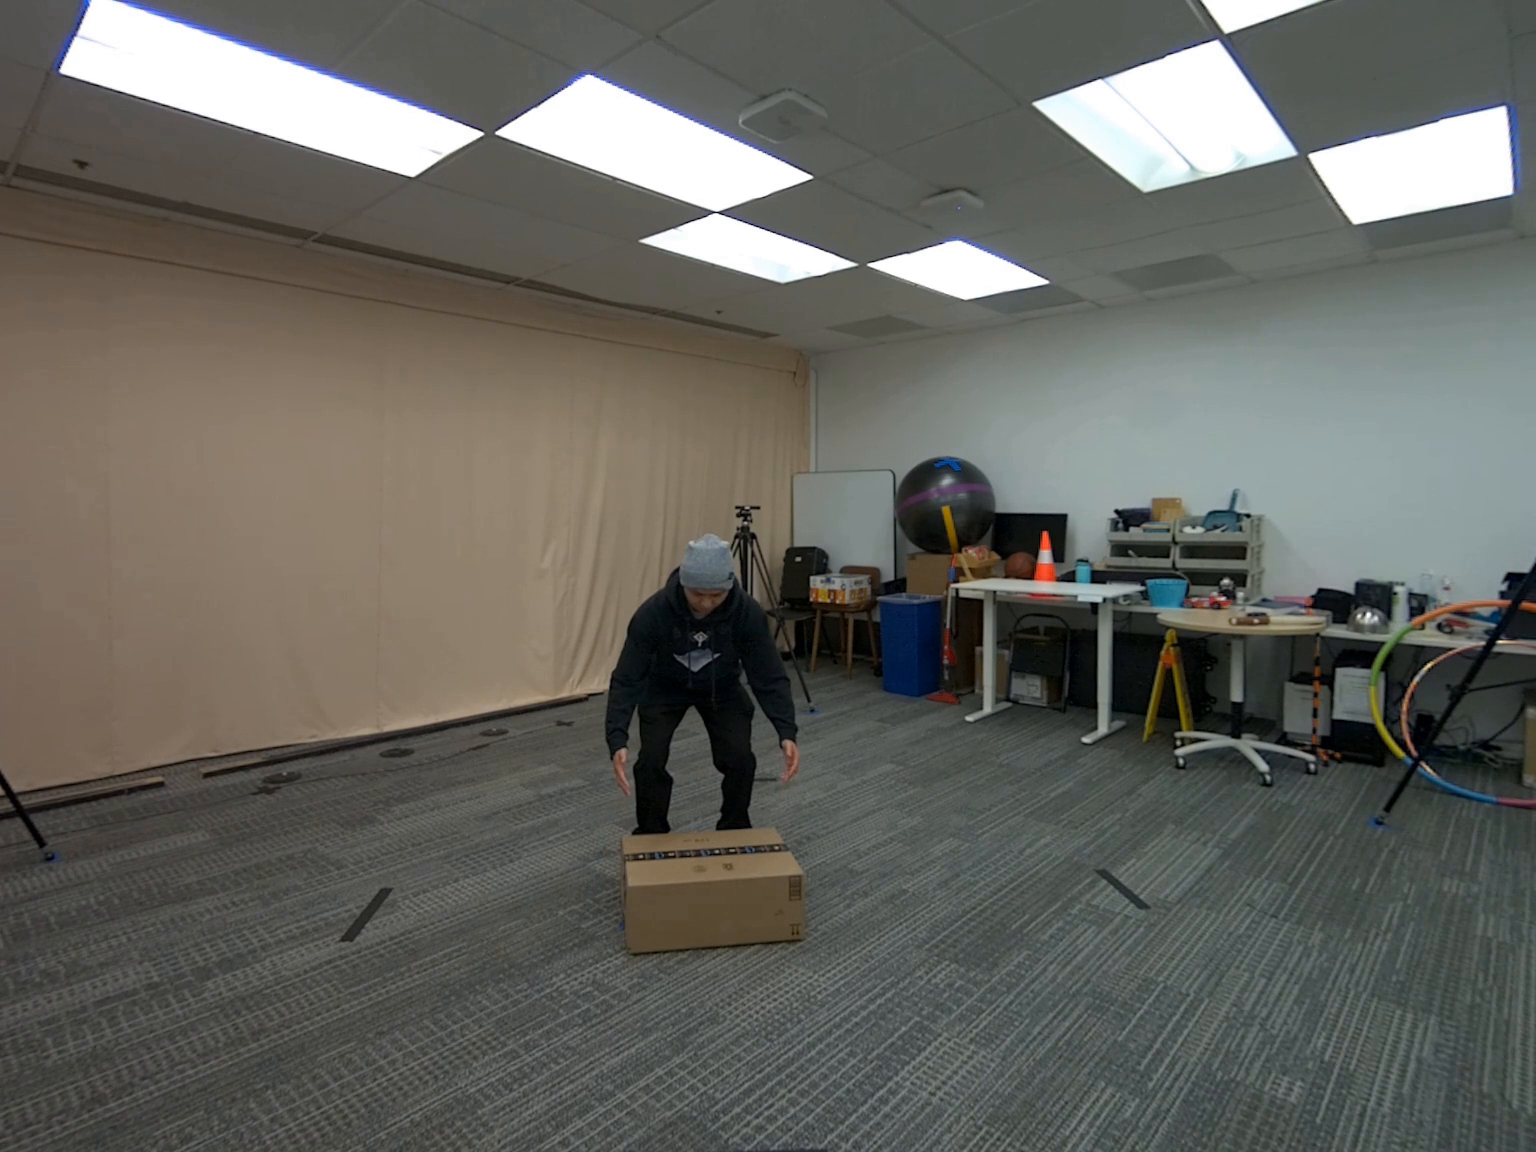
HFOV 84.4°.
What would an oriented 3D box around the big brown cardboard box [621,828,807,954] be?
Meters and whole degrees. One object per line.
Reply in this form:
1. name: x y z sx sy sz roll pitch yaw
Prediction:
1. big brown cardboard box: -0.203 1.046 2.842 0.583 0.233 0.422 -2 4 -9
